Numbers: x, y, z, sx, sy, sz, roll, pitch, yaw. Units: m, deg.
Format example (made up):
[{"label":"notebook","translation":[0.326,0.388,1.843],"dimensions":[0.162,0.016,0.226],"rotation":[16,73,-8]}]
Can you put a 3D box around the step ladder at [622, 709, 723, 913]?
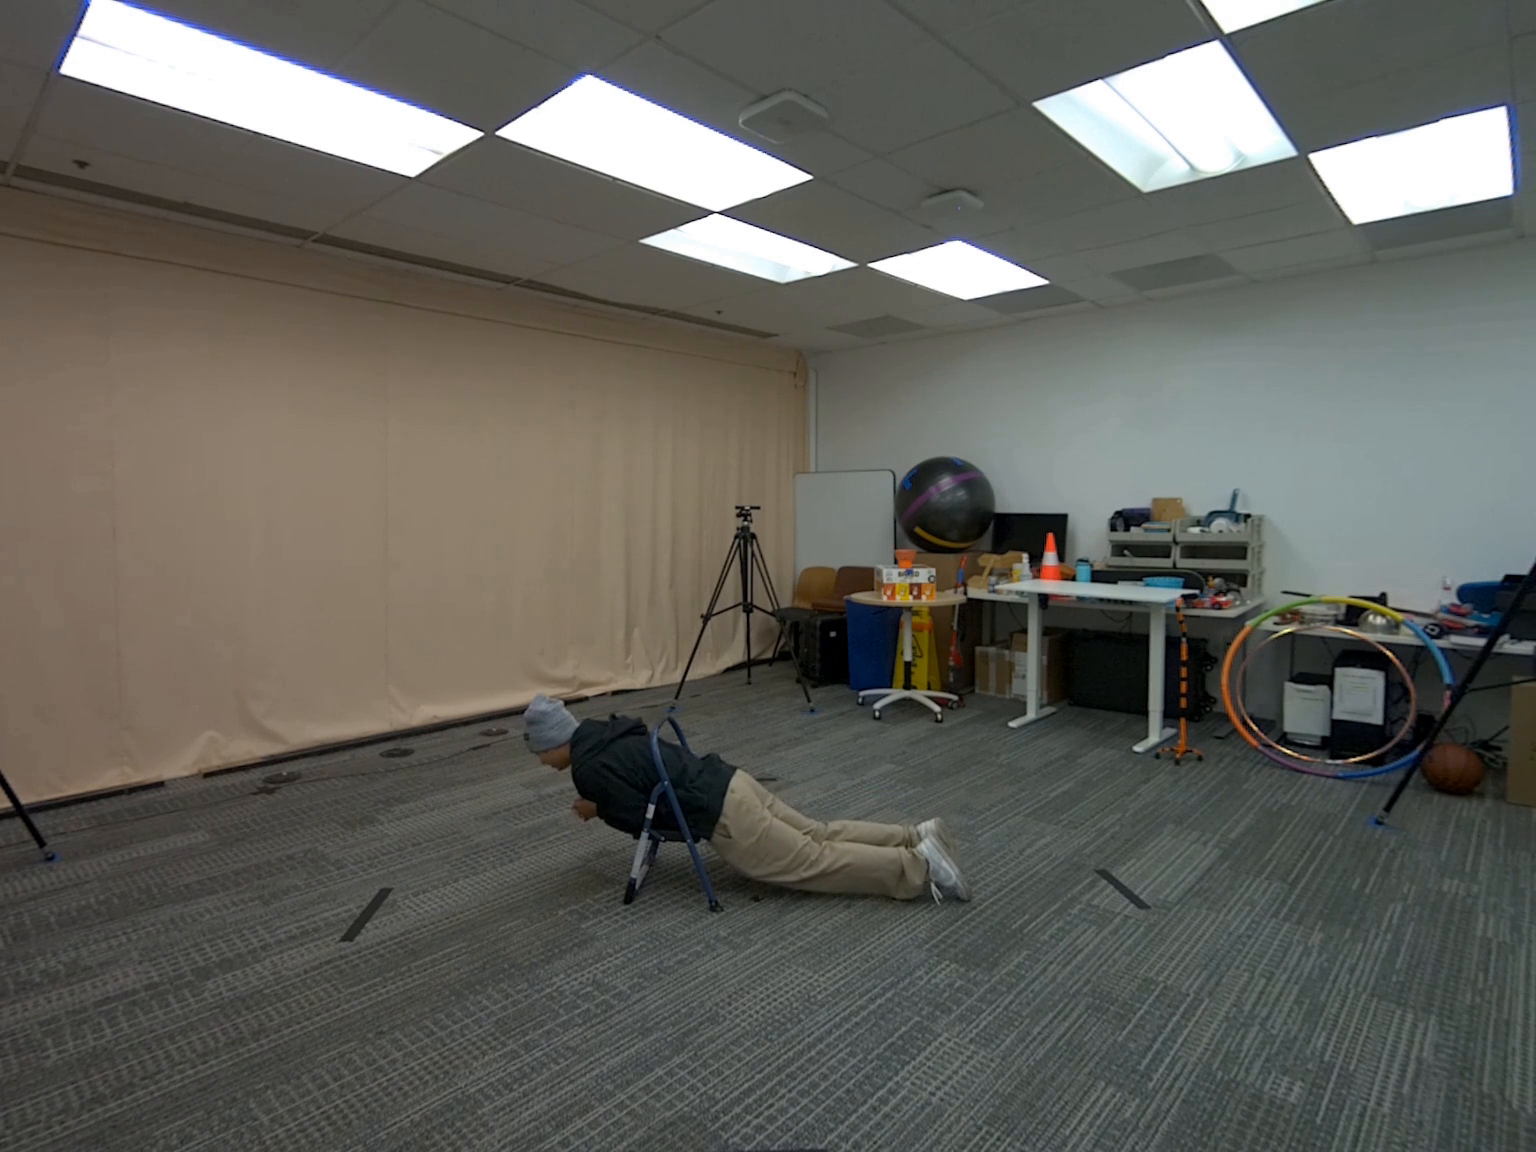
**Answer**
[{"label":"step ladder","translation":[-0.318,0.832,3.104],"dimensions":[0.352,0.605,0.429],"rotation":[0,3,5]}]
